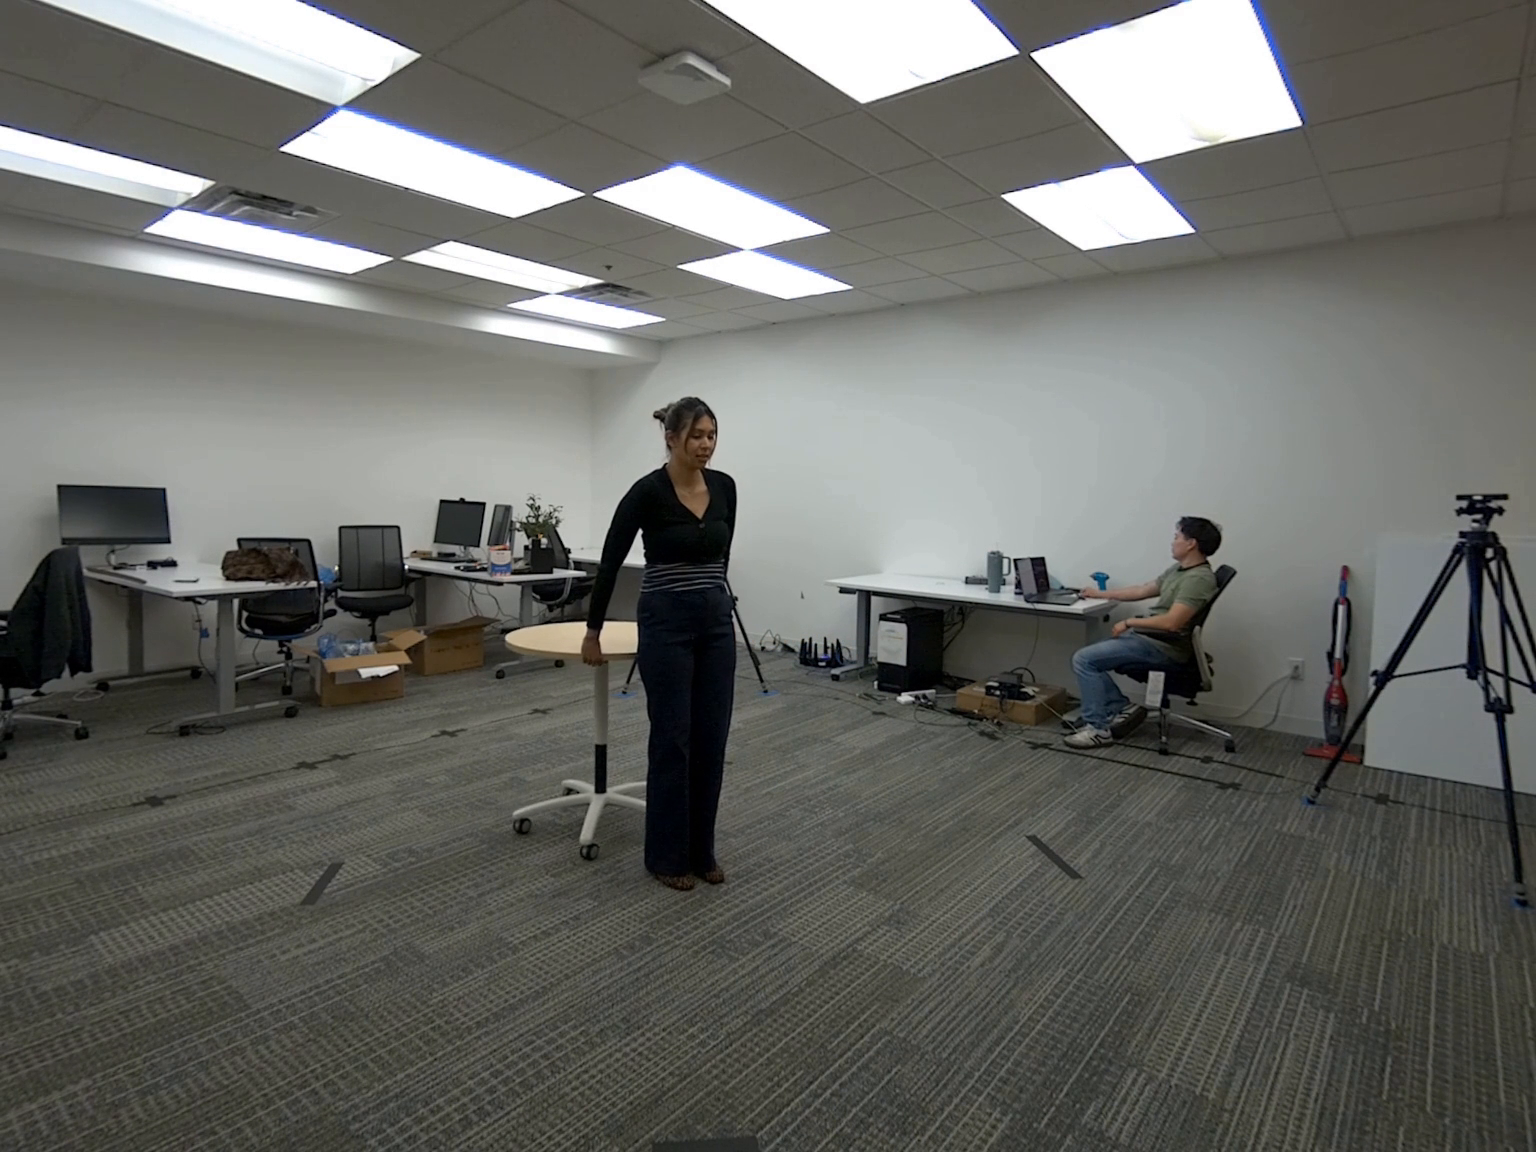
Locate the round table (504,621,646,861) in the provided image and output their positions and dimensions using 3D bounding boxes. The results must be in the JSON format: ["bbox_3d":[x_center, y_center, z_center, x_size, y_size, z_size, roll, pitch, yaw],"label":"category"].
[{"bbox_3d":[-0.693,0.634,3.467,0.763,0.791,0.767,1,4,-2],"label":"round table"}]
